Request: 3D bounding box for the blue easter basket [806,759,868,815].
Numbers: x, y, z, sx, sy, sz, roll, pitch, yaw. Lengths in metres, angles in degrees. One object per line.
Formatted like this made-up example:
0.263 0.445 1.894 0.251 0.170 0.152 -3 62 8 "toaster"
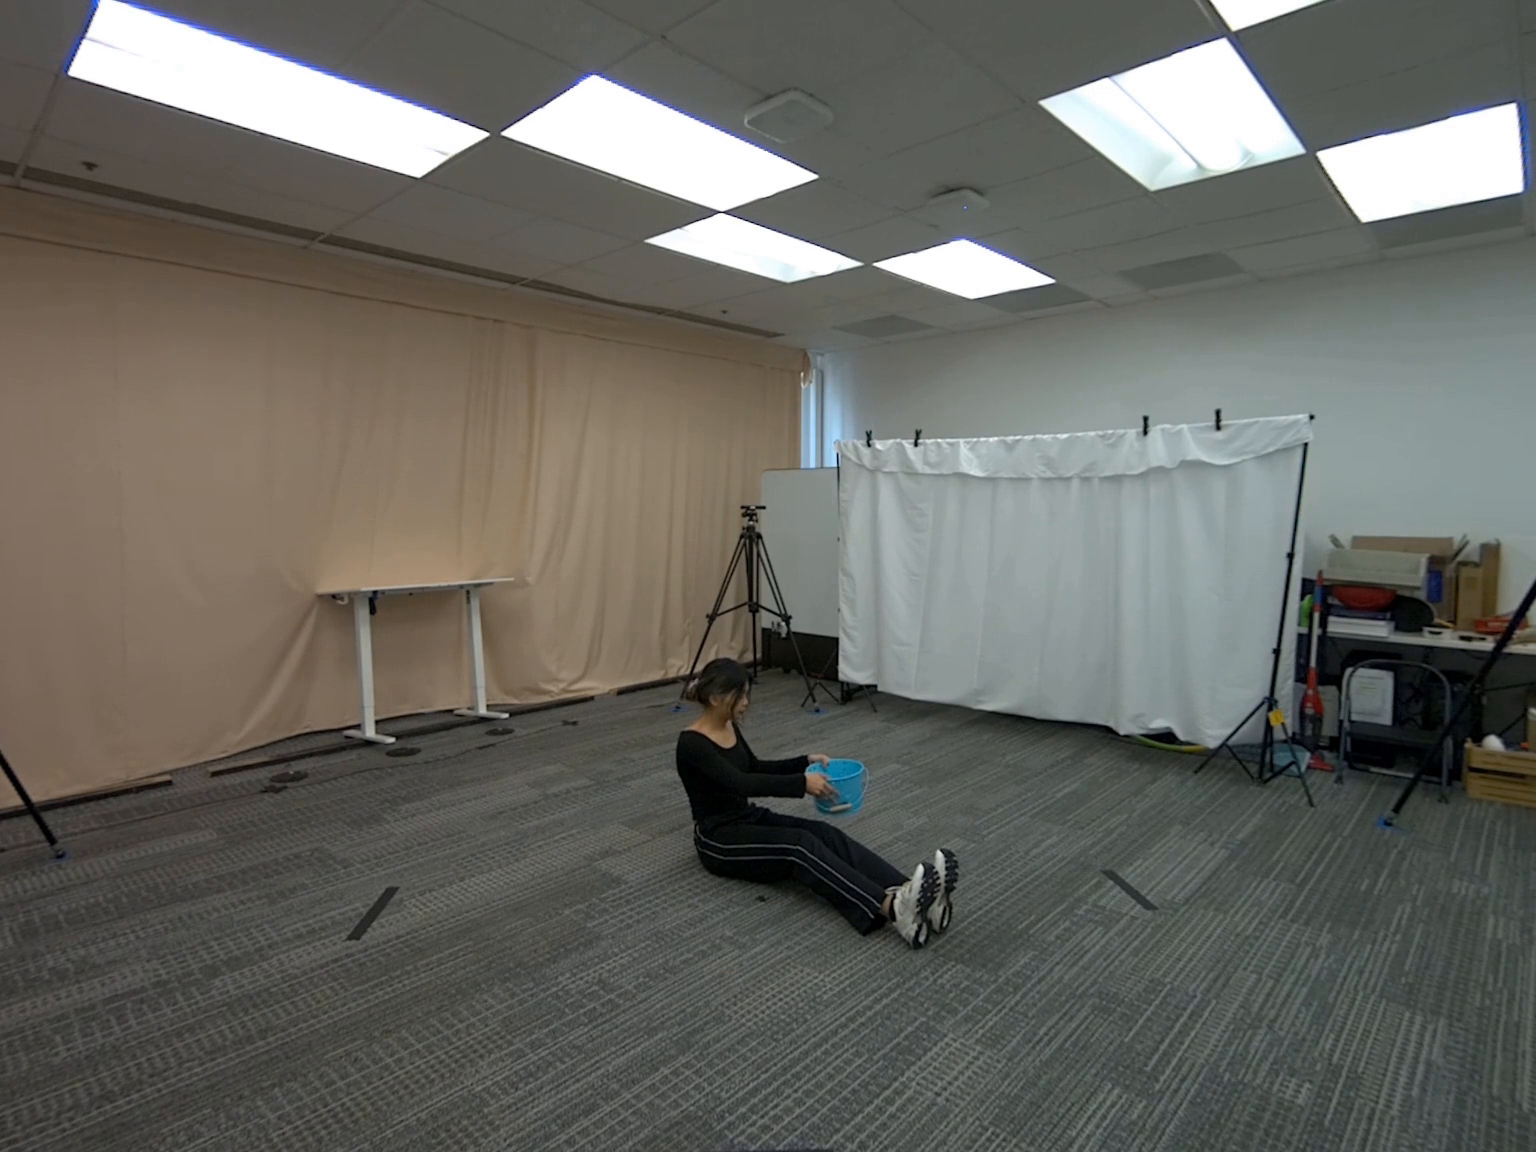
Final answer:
0.266 0.838 3.301 0.243 0.155 0.245 -6 6 -1 "blue easter basket"
